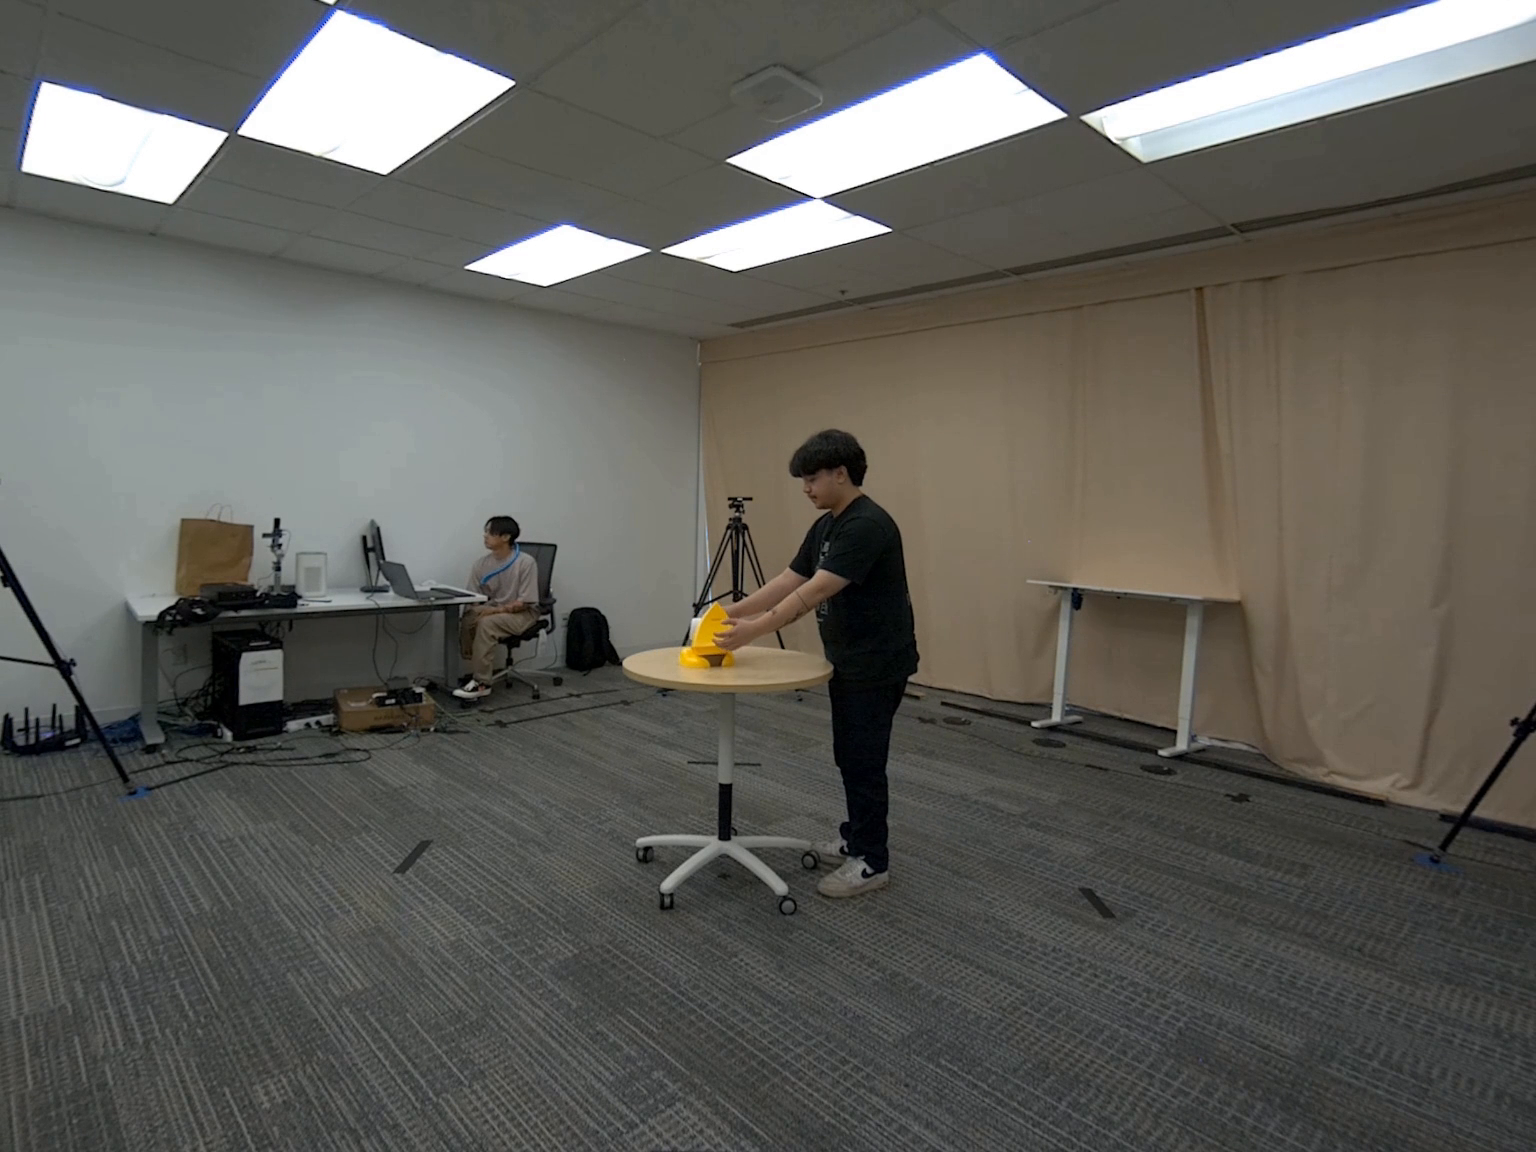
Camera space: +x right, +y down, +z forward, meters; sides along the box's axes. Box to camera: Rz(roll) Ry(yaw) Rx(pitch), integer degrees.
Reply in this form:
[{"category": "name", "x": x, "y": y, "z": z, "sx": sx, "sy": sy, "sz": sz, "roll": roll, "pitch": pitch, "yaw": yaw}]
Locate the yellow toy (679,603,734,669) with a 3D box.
[{"category": "yellow toy", "x": -0.222, "y": 0.202, "z": 3.045, "sx": 0.201, "sy": 0.230, "sz": 0.197, "roll": -1, "pitch": 5, "yaw": -30}]
